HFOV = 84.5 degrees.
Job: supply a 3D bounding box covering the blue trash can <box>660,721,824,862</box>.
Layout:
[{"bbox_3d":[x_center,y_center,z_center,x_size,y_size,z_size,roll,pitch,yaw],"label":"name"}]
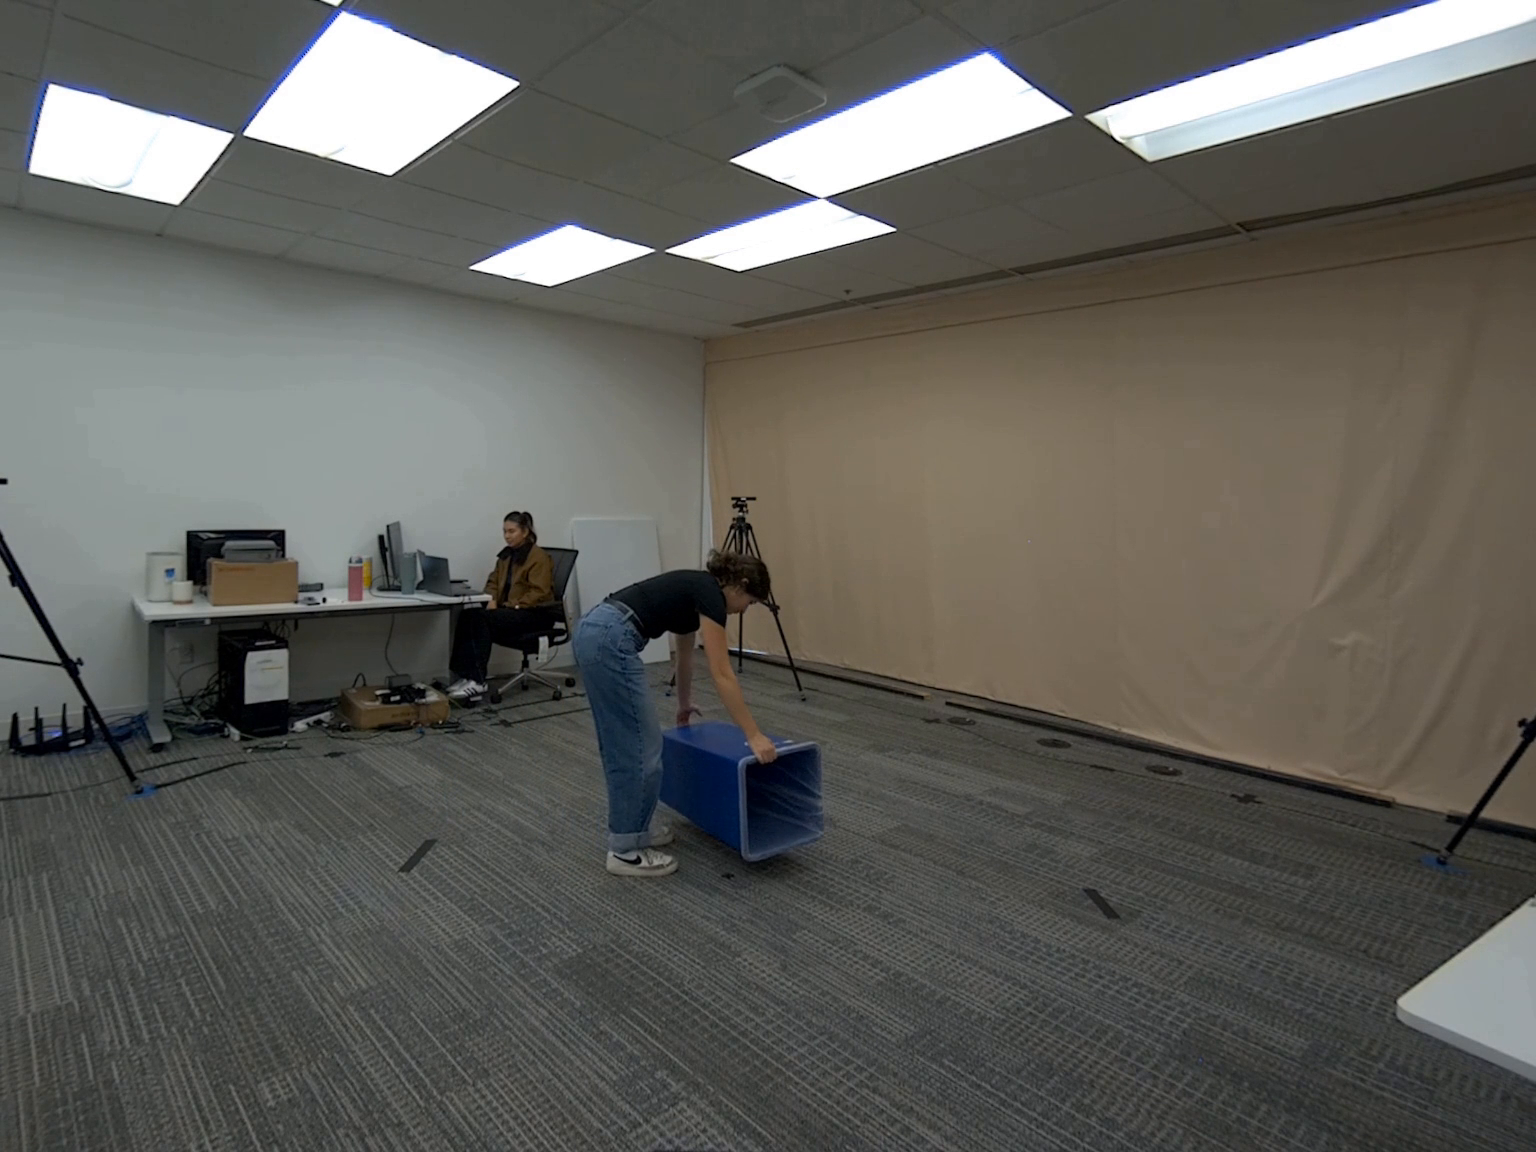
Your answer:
[{"bbox_3d":[-0.151,0.822,3.376,0.370,0.373,0.729,-5,3,-33],"label":"blue trash can"}]
